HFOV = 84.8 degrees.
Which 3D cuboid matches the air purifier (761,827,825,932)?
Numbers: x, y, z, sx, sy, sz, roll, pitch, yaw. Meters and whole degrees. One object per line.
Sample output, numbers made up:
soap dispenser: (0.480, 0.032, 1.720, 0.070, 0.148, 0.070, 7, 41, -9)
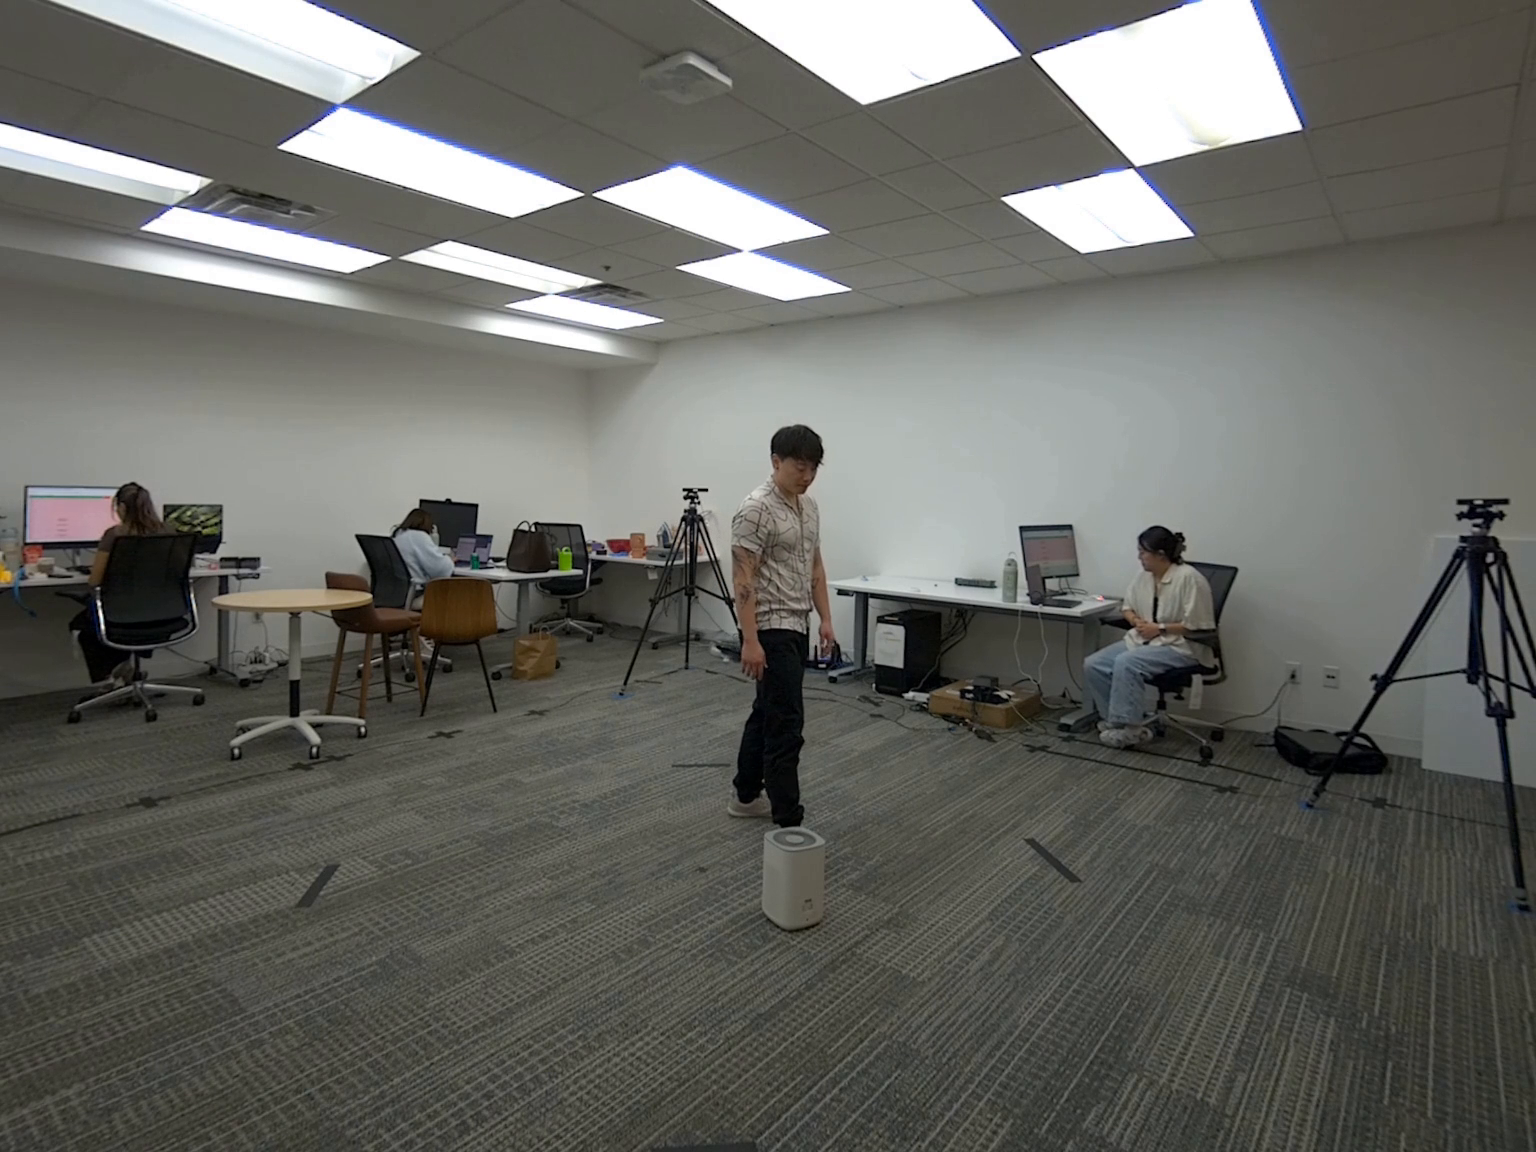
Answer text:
air purifier: (0.079, 0.976, 2.757, 0.167, 0.265, 0.176, 0, 3, -31)
